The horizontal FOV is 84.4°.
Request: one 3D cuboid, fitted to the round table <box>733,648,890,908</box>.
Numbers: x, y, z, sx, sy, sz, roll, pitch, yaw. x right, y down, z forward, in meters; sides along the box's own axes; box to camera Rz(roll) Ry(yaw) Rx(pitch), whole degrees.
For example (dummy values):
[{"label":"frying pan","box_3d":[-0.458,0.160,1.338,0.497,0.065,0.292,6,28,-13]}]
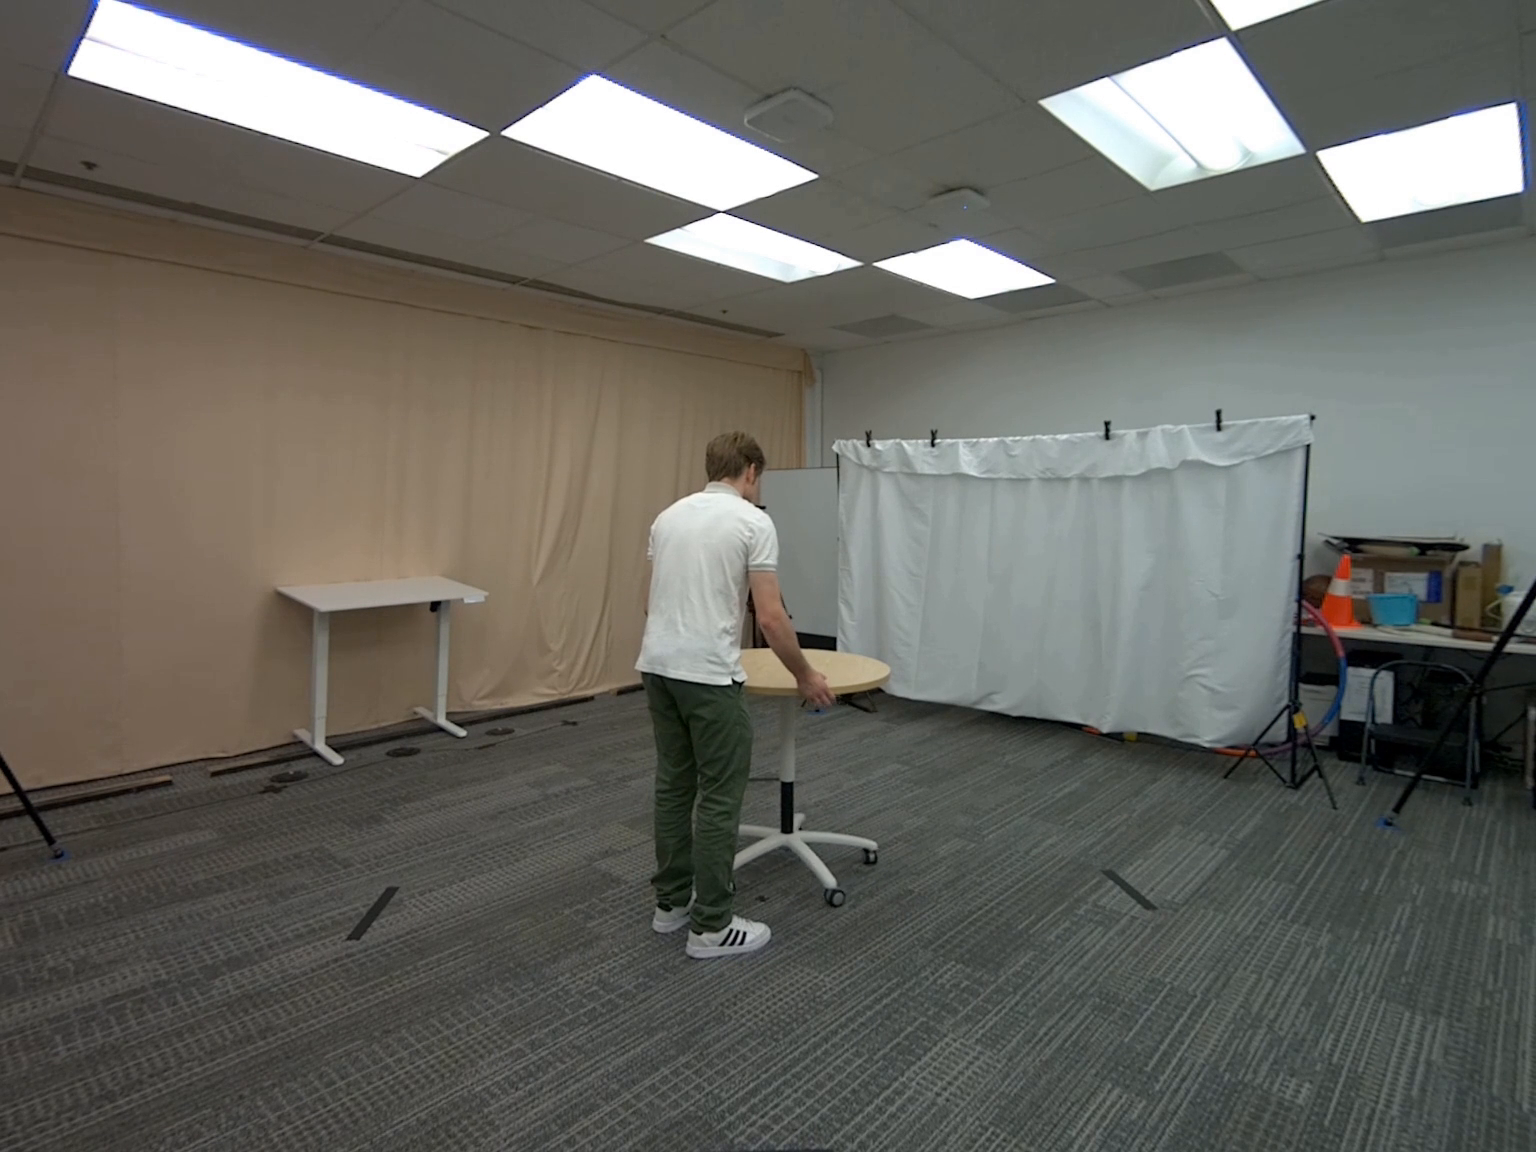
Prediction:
[{"label":"round table","box_3d":[0.076,0.733,3.217,0.763,0.792,0.767,1,4,-2]}]
